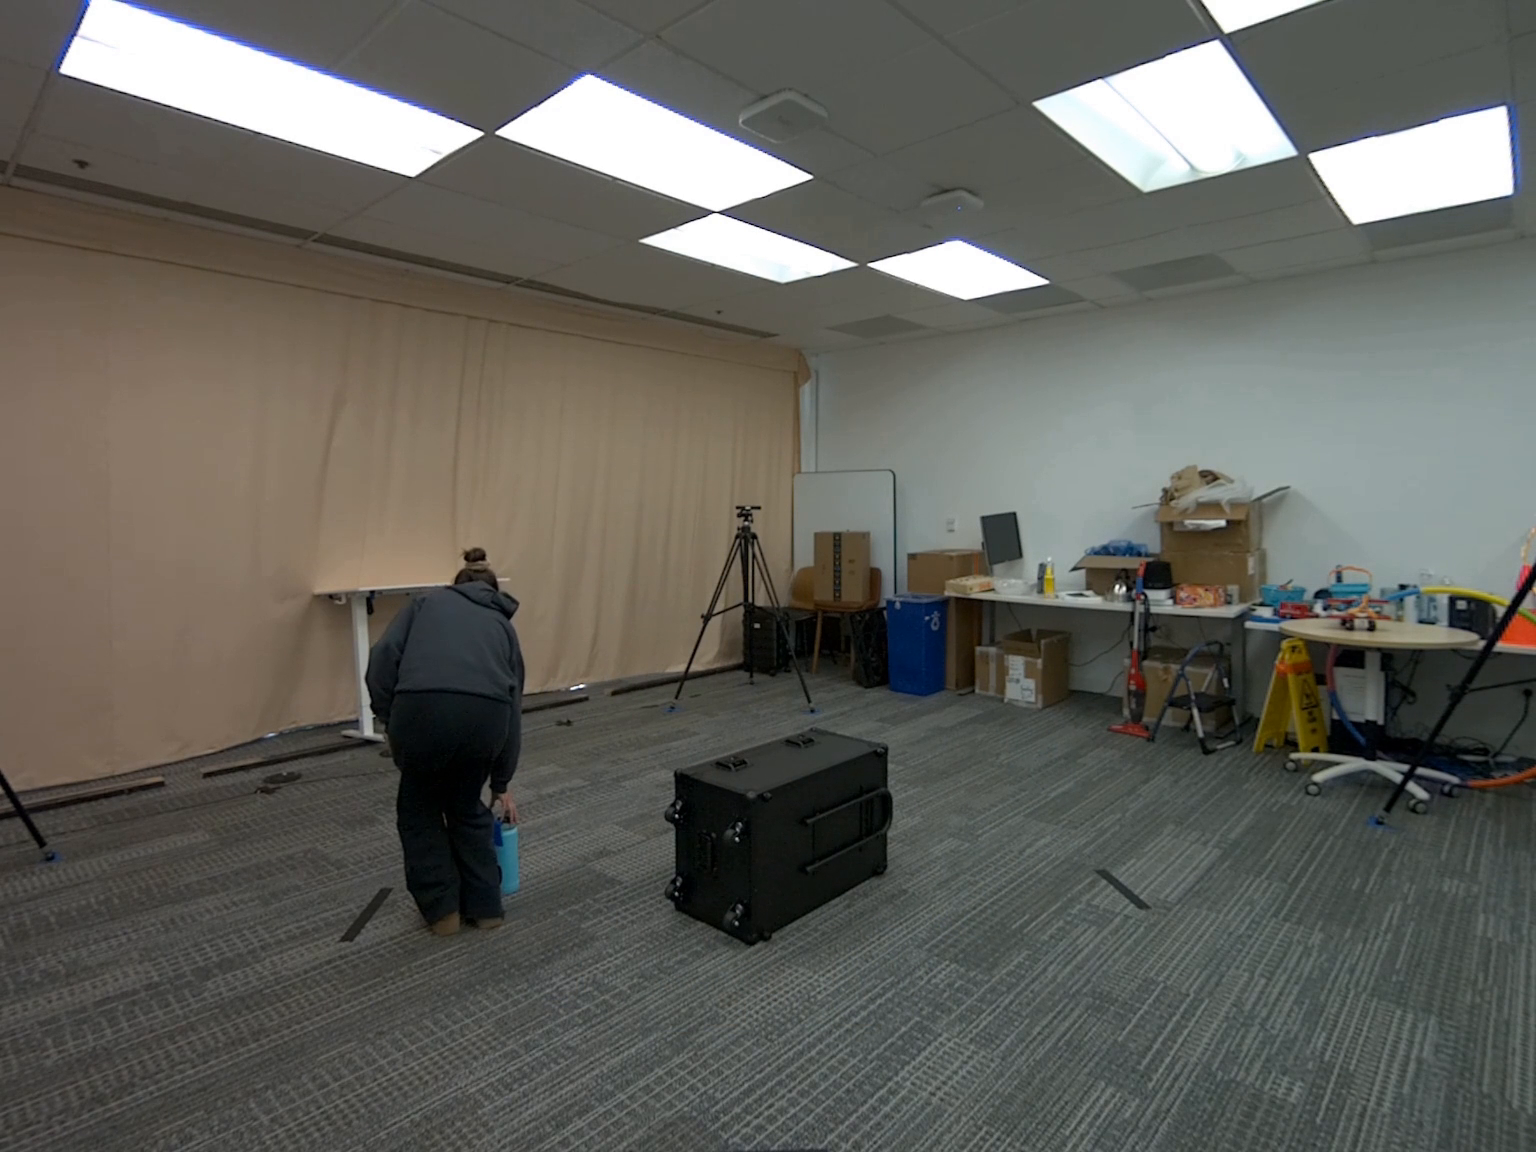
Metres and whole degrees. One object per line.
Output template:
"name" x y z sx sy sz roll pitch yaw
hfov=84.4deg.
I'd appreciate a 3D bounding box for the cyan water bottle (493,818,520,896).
"cyan water bottle" -0.944 1.018 3.076 0.092 0.283 0.092 -2 2 -2
